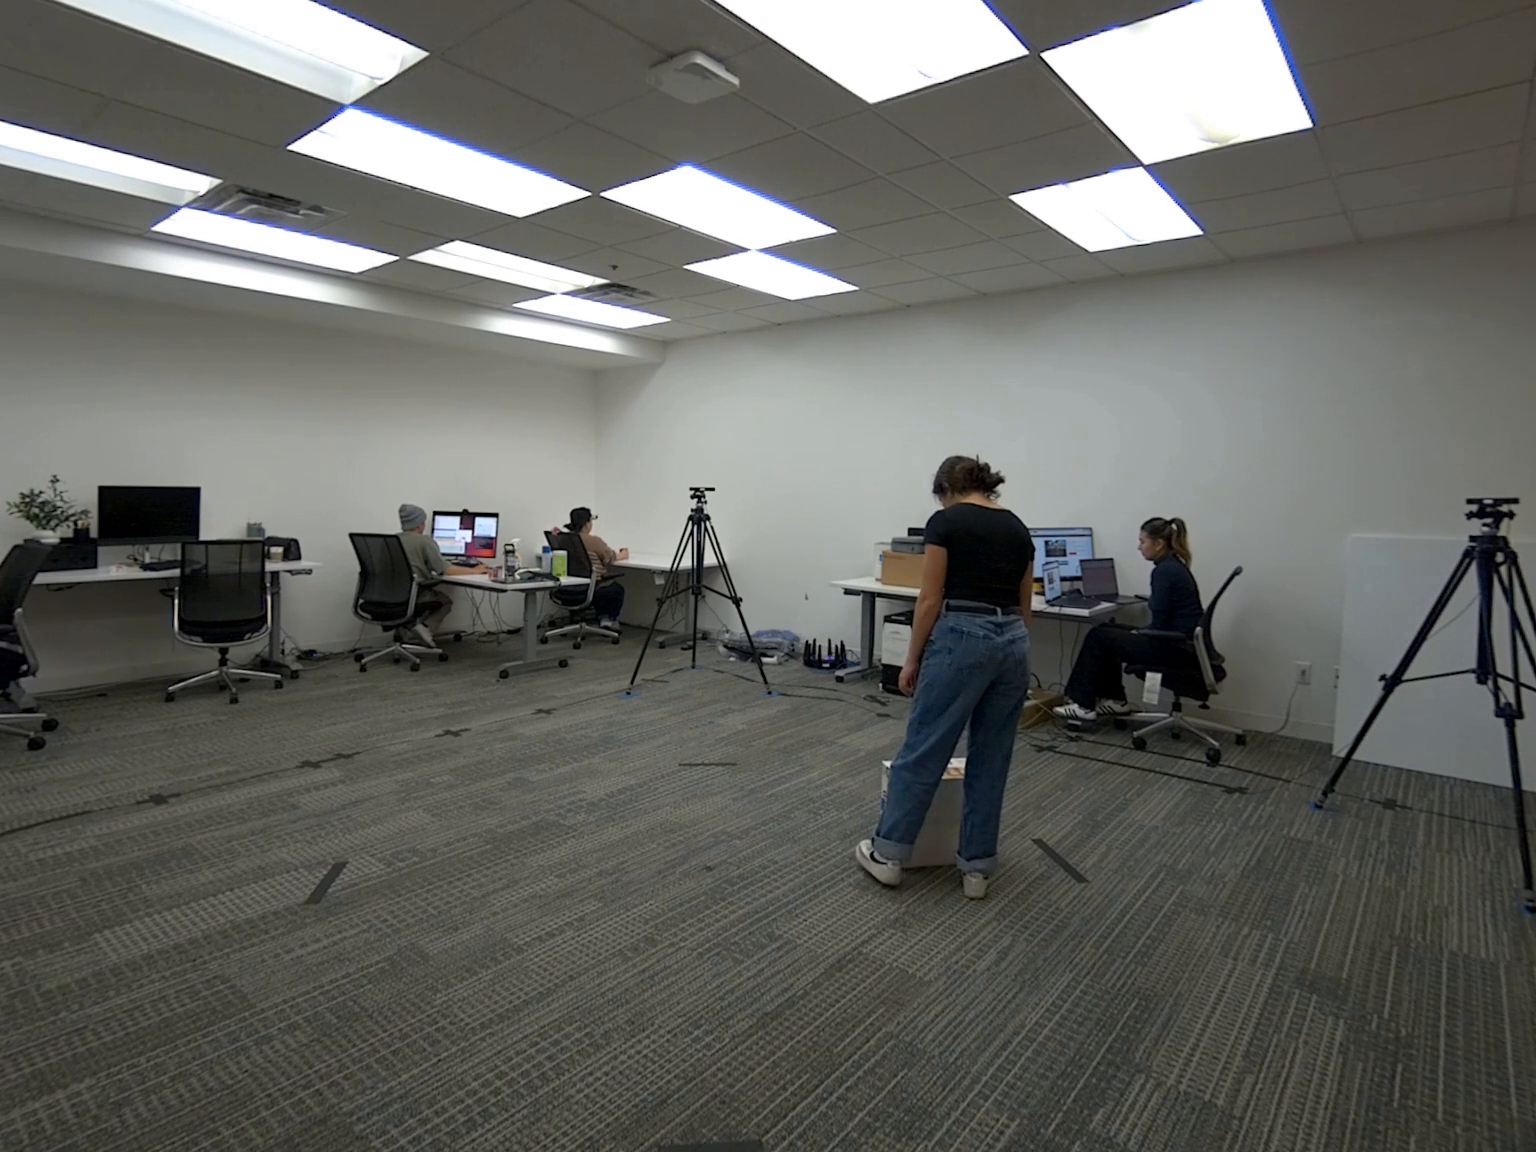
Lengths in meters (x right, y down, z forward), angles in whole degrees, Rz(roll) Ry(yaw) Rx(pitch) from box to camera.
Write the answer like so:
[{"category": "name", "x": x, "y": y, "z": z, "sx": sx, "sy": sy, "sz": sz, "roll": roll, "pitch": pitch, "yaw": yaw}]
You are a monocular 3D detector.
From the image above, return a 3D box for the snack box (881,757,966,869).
[{"category": "snack box", "x": 0.654, "y": 0.900, "z": 3.267, "sx": 0.400, "sy": 0.339, "sz": 0.209, "roll": 1, "pitch": 5, "yaw": -13}]
